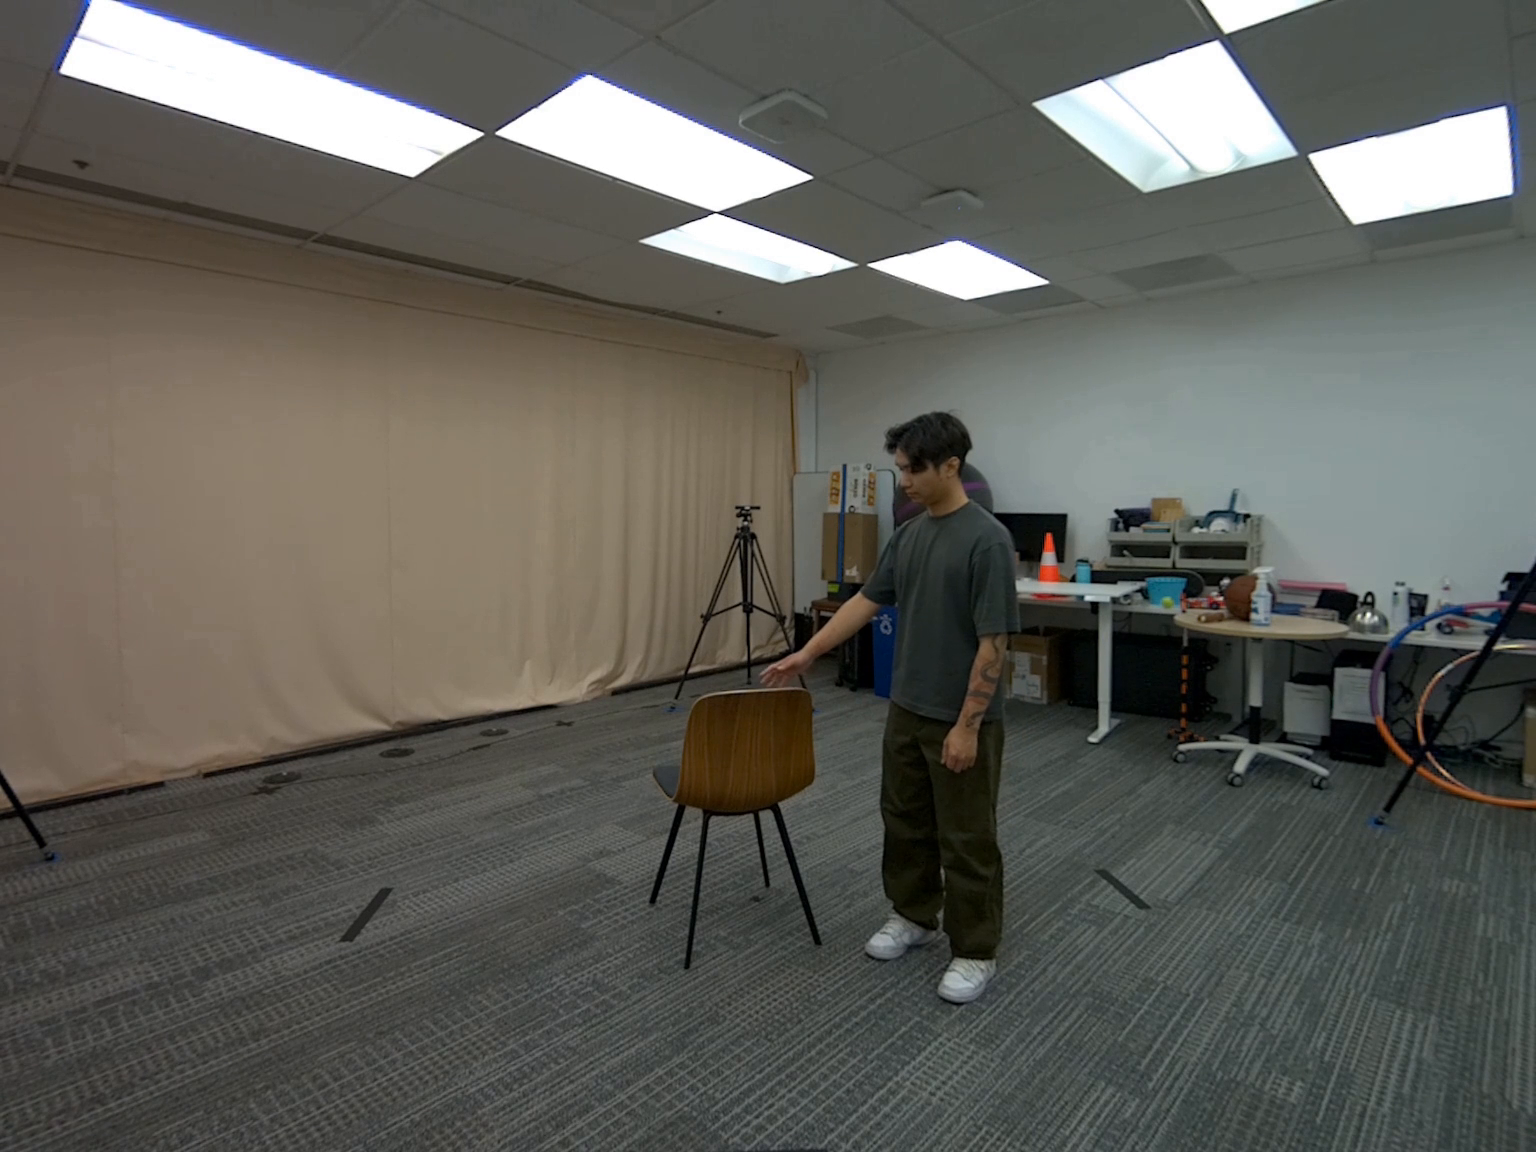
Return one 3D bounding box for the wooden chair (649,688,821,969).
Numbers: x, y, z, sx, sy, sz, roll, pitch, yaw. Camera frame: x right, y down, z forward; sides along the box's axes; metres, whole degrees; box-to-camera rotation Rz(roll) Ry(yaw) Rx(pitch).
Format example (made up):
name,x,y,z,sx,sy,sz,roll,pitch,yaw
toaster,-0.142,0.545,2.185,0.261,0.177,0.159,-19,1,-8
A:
name,x,y,z,sx,sy,sz,roll,pitch,yaw
wooden chair,-0.125,0.734,2.788,0.469,0.873,0.536,-2,8,-20
